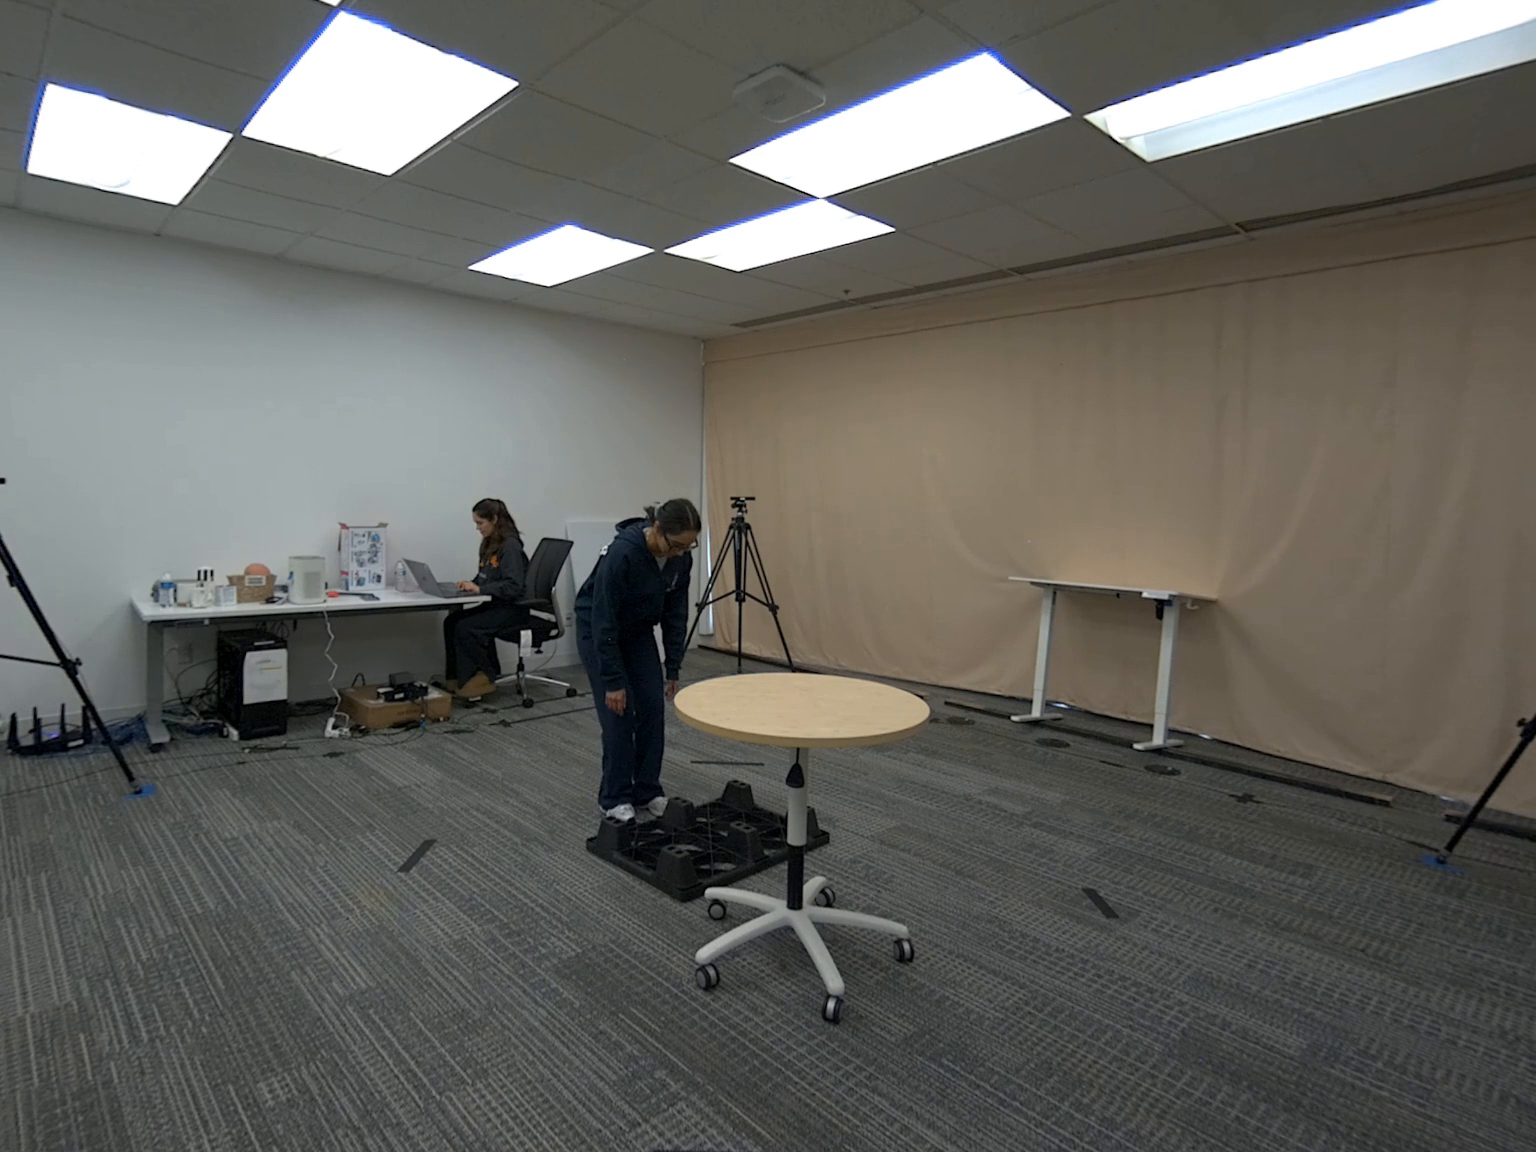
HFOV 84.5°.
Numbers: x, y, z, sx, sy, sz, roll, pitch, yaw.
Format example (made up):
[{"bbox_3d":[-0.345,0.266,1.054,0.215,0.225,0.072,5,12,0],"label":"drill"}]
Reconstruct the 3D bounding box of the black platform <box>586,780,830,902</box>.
[{"bbox_3d":[-0.238,1.017,3.359,0.621,0.143,0.787,6,7,44],"label":"black platform"}]
